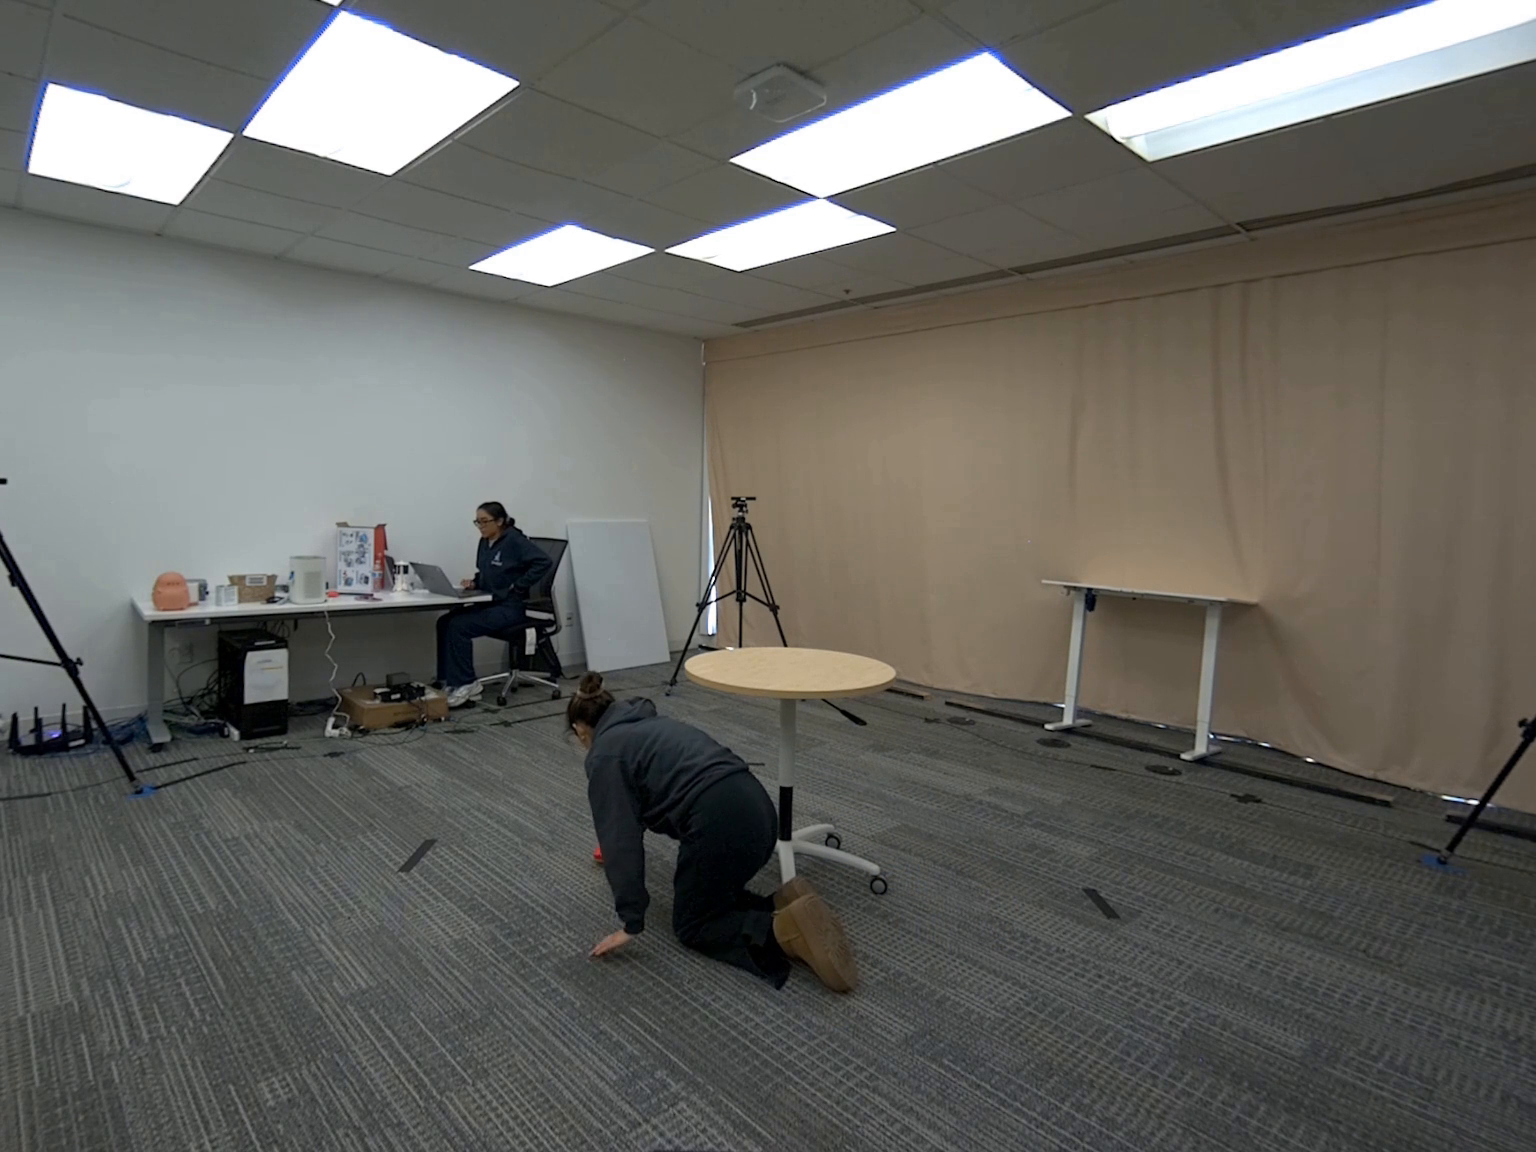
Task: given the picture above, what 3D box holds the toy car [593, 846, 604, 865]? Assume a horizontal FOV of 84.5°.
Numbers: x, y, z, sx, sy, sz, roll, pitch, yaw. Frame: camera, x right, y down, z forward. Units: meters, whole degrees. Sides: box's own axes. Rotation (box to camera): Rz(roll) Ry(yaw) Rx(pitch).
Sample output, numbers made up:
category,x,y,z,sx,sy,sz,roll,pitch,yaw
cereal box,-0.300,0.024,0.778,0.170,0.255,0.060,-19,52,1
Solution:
category,x,y,z,sx,sy,sz,roll,pitch,yaw
toy car,-0.596,1.055,3.257,0.132,0.083,0.251,3,-6,11
